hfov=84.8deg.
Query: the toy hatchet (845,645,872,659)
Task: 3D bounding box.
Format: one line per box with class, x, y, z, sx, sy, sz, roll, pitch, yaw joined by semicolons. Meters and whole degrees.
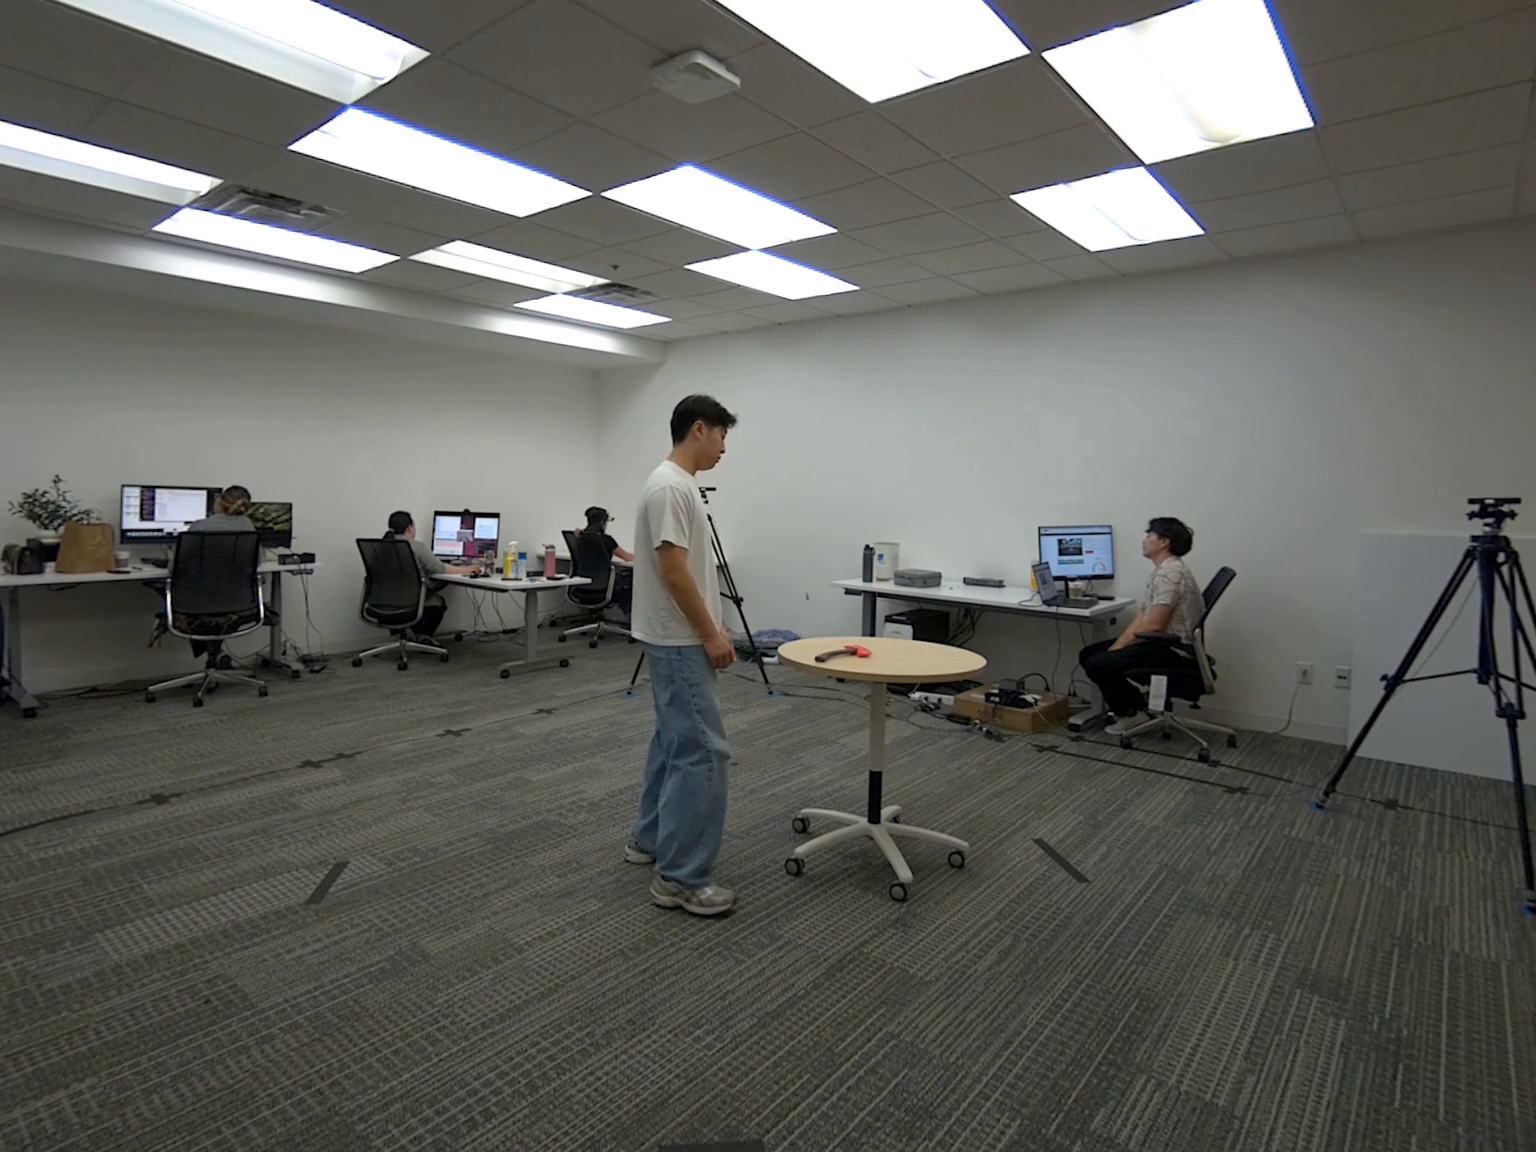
toy hatchet;0.273;0.287;3.085;0.135;0.029;0.263;9;10;31
